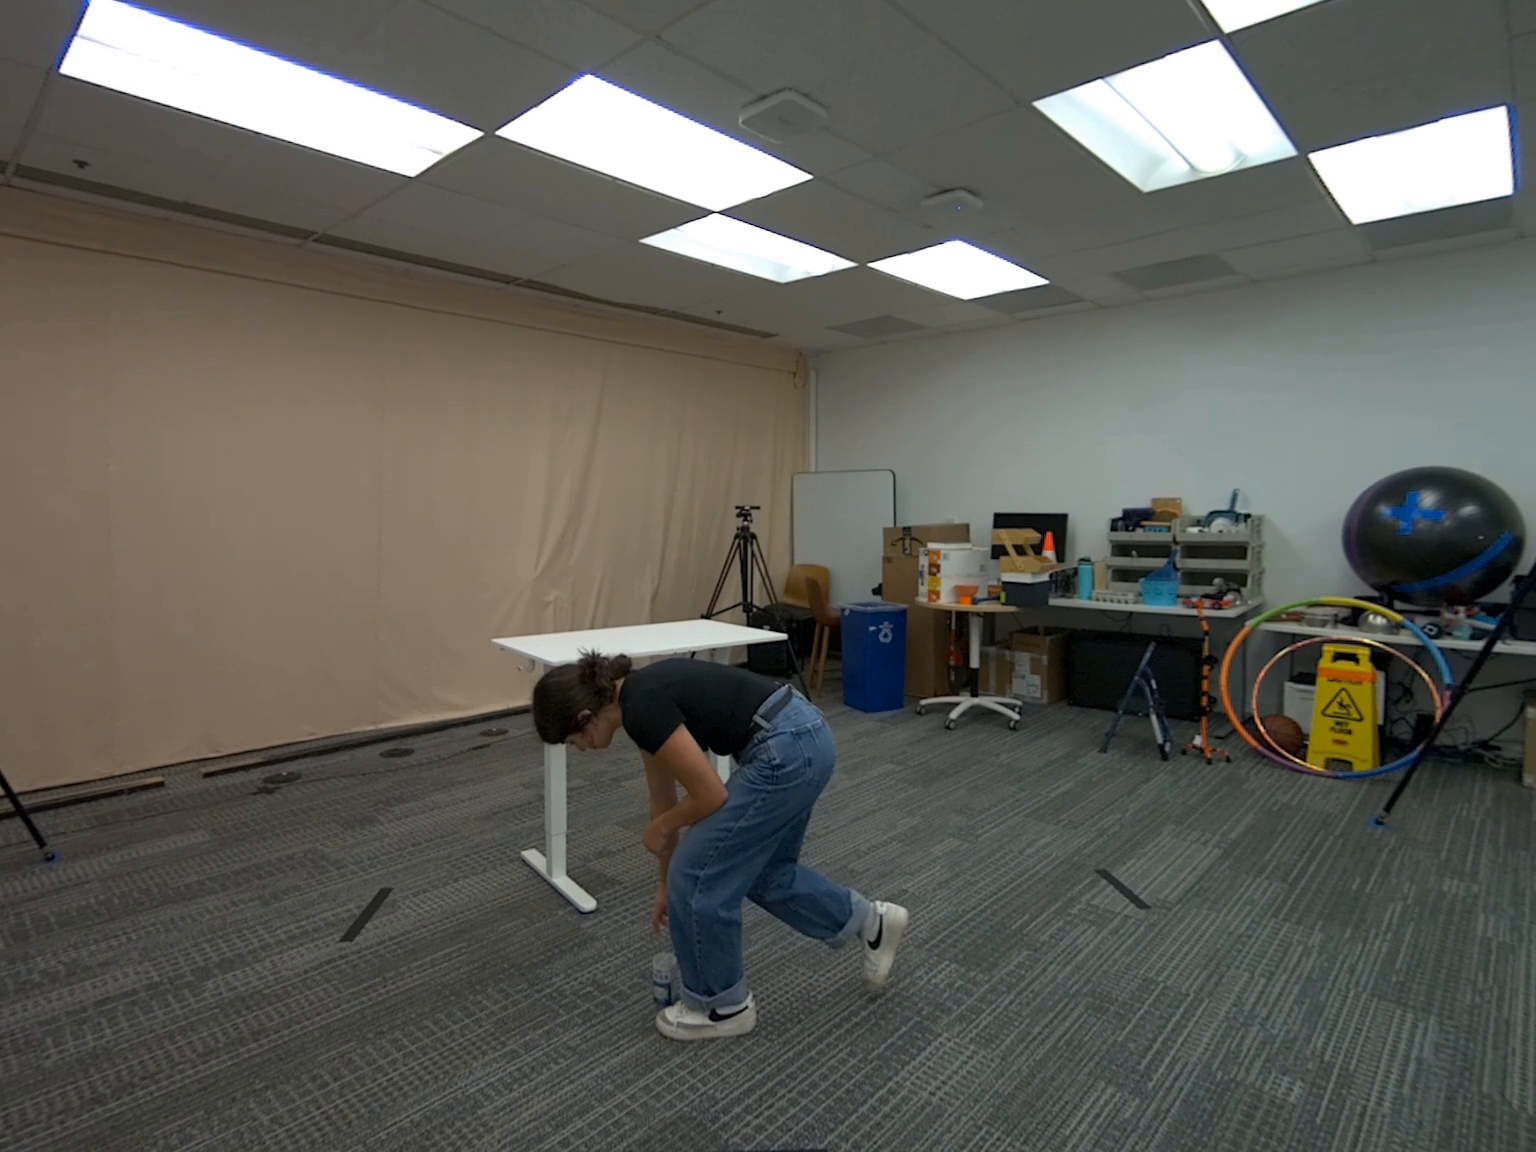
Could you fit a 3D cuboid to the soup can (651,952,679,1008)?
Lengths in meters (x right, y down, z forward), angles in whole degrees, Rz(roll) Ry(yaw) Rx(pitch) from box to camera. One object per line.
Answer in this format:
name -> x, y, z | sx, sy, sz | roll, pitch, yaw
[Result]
soup can -> -0.293, 1.135, 2.384 | 0.067, 0.121, 0.067 | -3, 0, -2
